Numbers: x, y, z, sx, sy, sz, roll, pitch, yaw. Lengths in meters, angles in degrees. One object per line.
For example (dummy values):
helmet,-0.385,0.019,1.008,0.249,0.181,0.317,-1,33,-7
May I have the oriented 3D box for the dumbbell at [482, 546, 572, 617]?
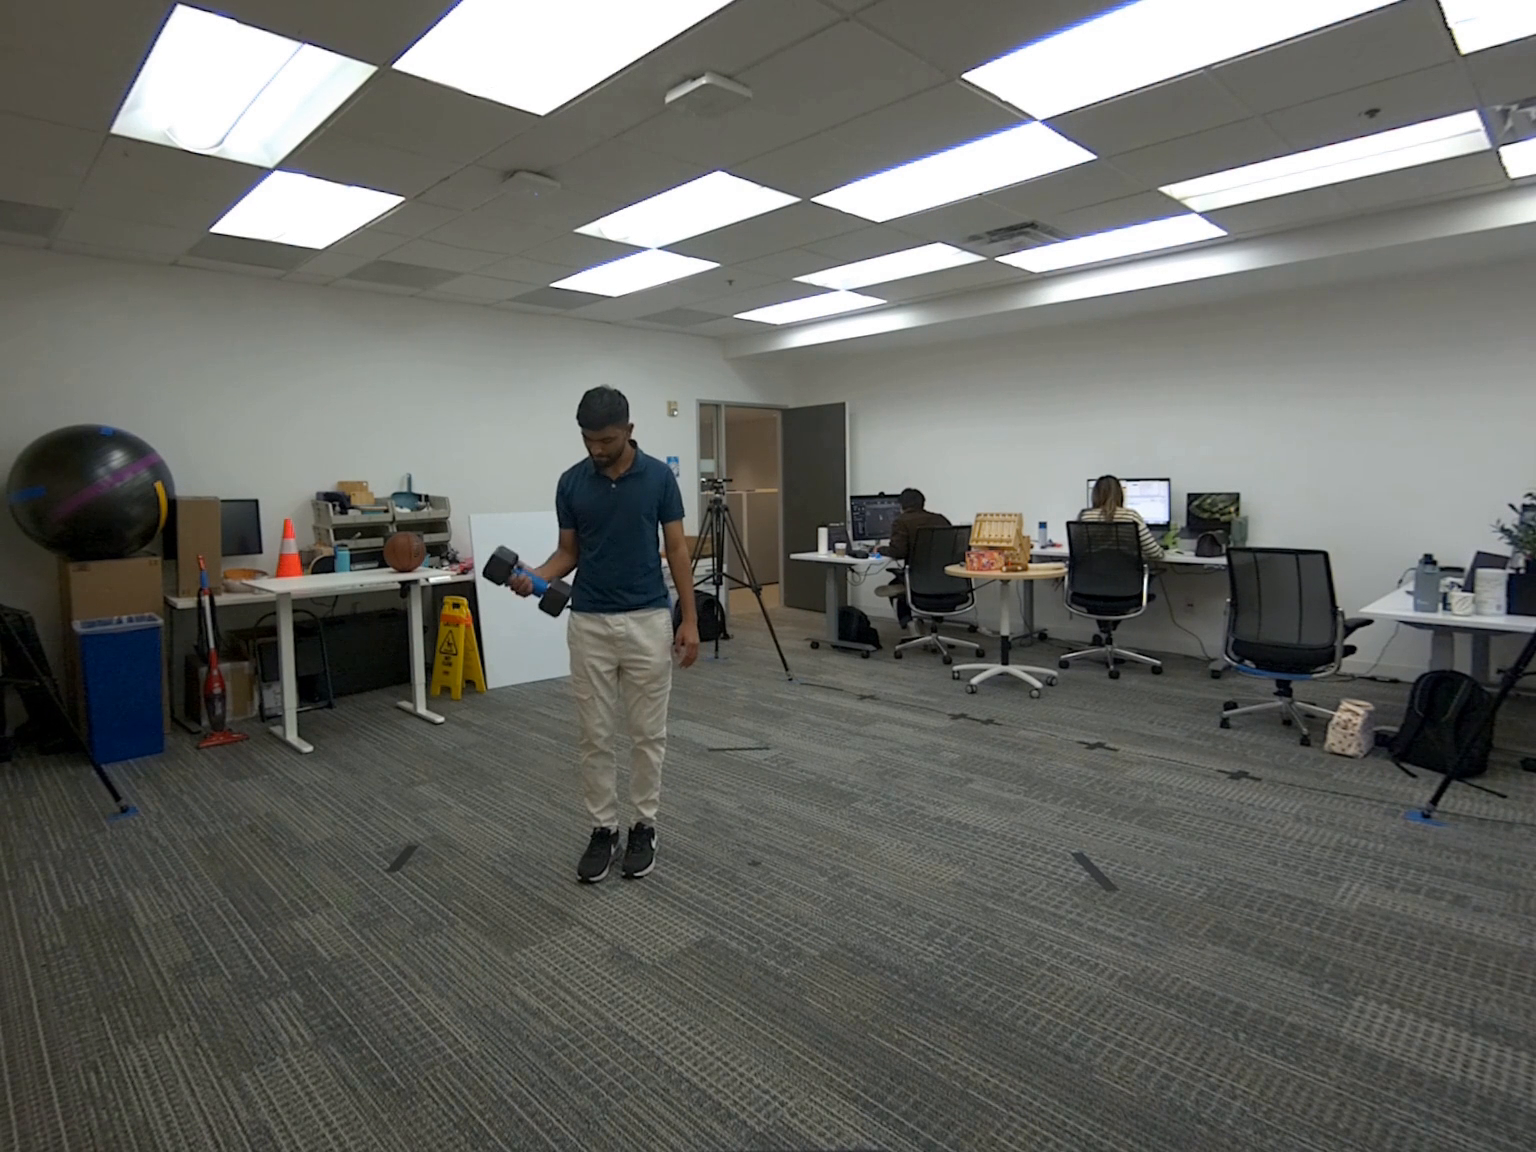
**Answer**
dumbbell,-0.803,0.018,2.855,0.290,0.110,0.123,32,-31,-9
